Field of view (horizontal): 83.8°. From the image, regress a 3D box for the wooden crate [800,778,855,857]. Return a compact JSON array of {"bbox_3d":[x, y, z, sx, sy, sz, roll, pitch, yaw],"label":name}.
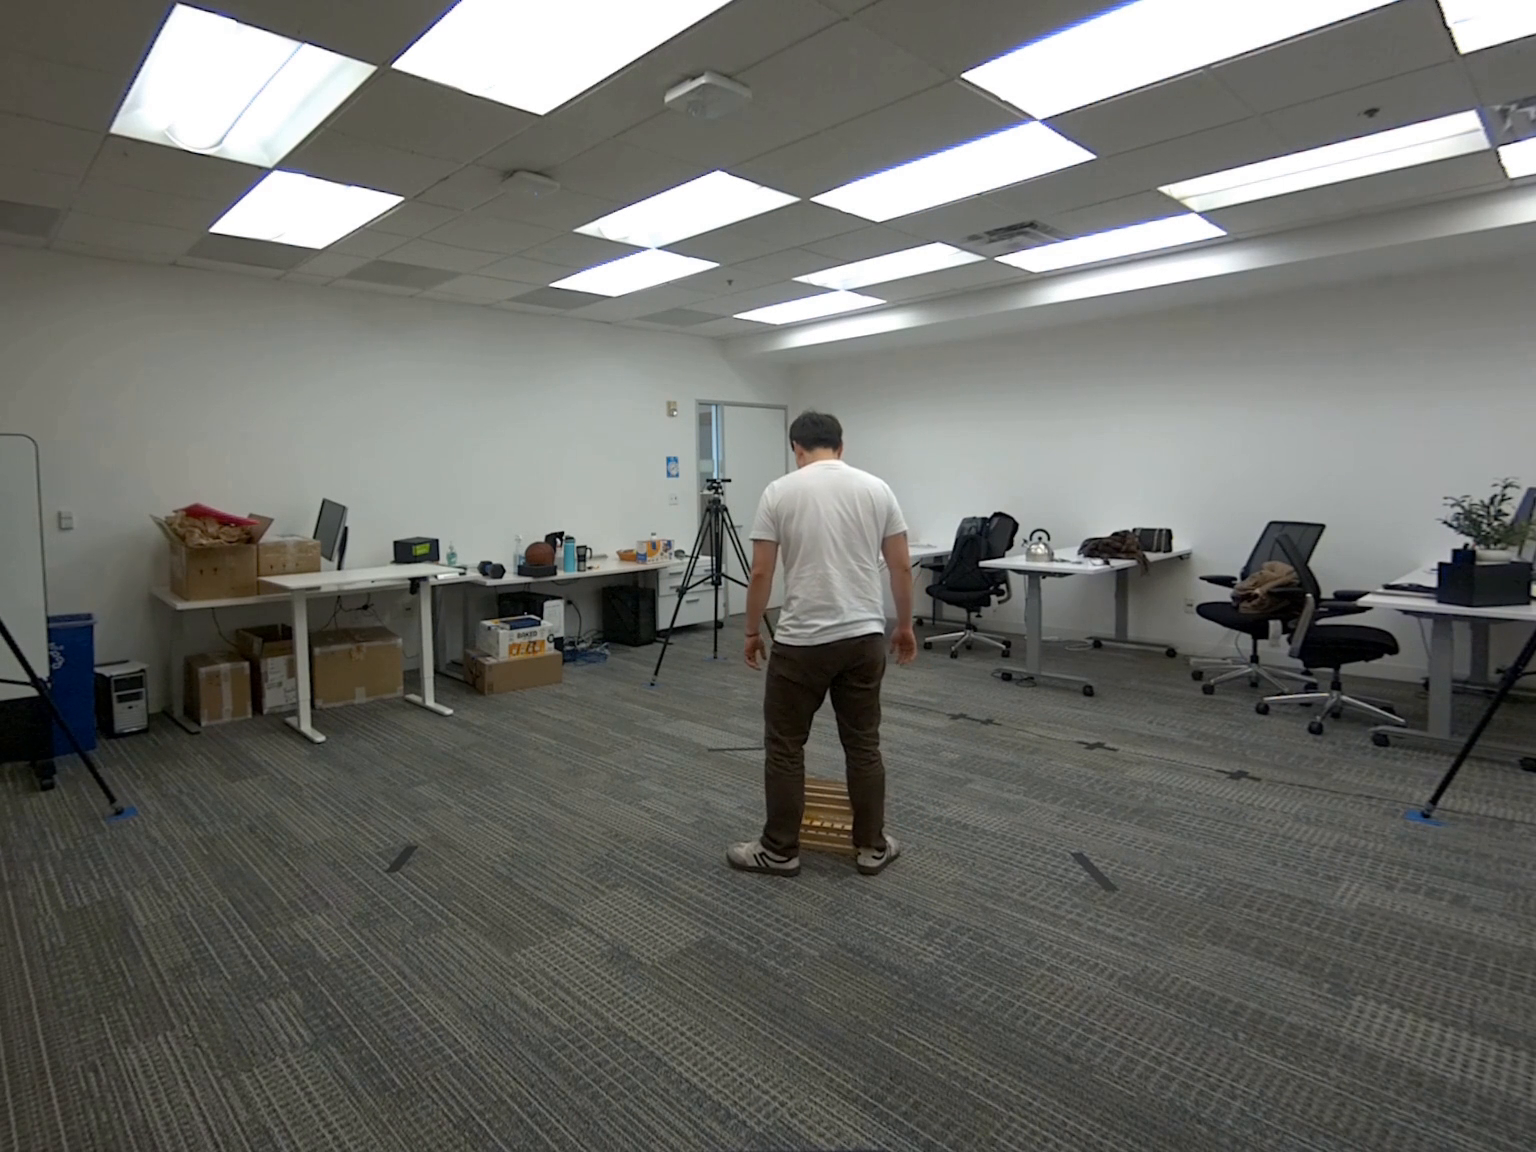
[{"bbox_3d":[0.244,0.891,3.294,0.330,0.272,0.298,1,6,18],"label":"wooden crate"}]
